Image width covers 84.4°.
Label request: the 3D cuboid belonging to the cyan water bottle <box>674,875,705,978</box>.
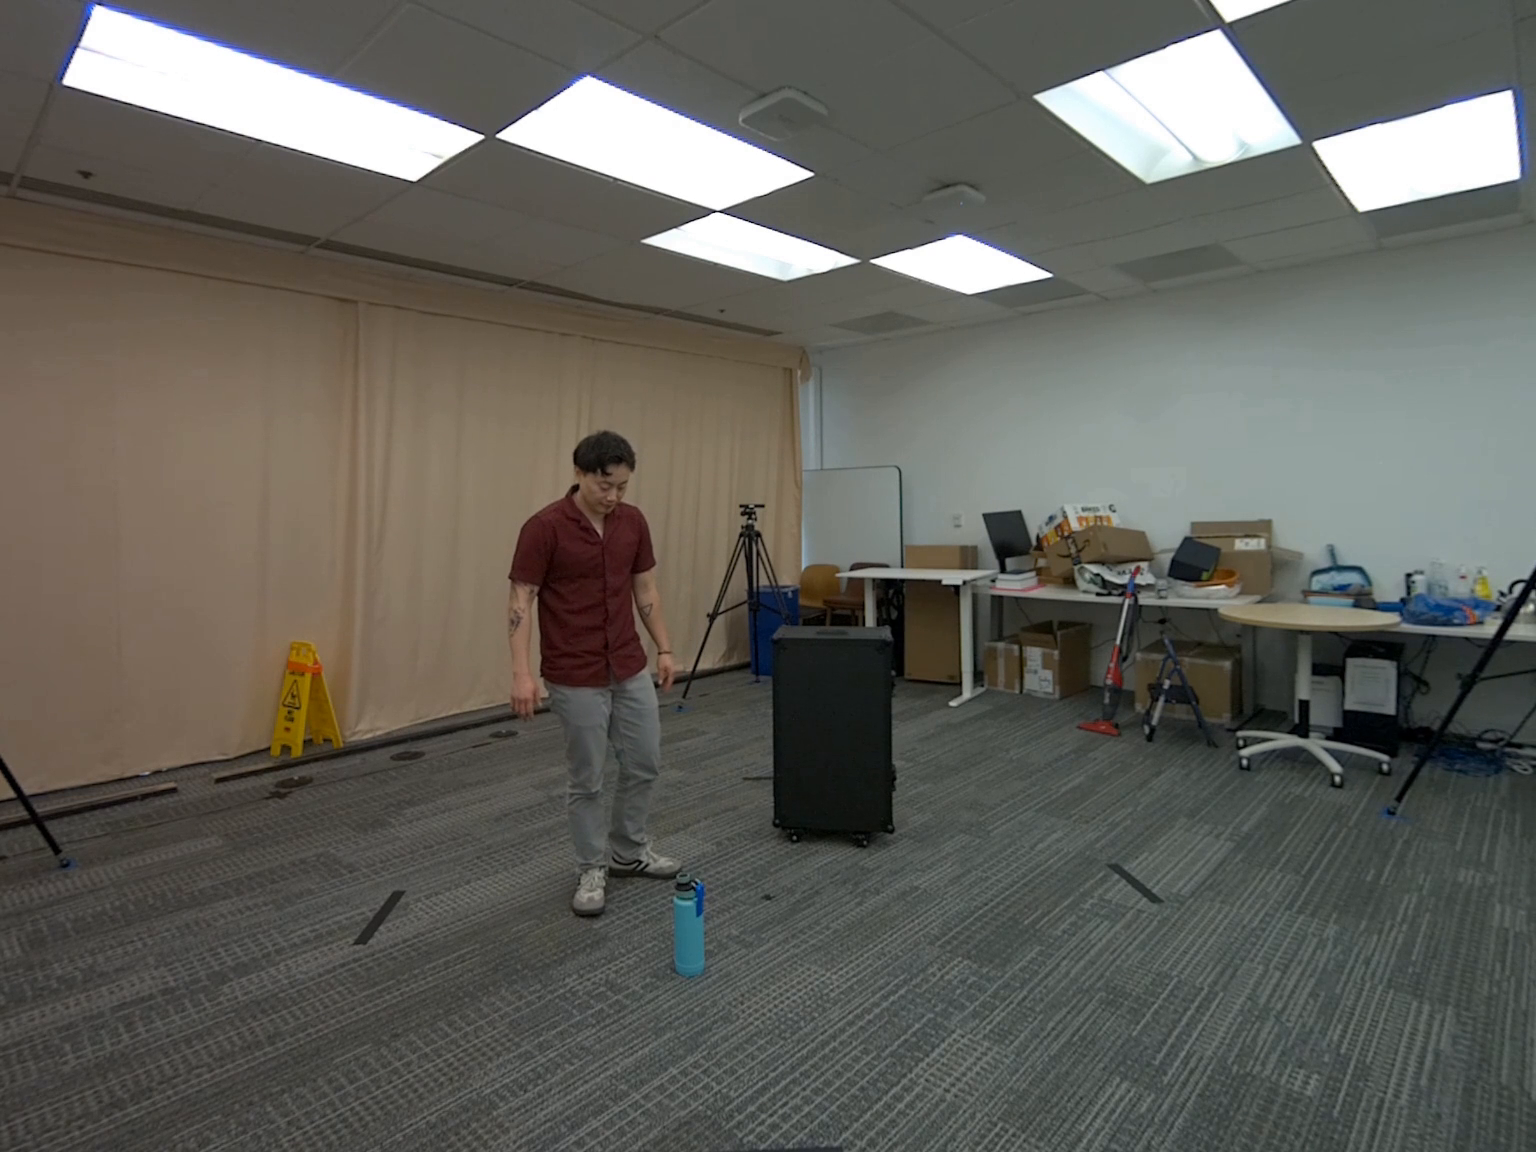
[{"bbox_3d":[-0.233,1.044,2.521,0.092,0.283,0.092,0,2,-2],"label":"cyan water bottle"}]
